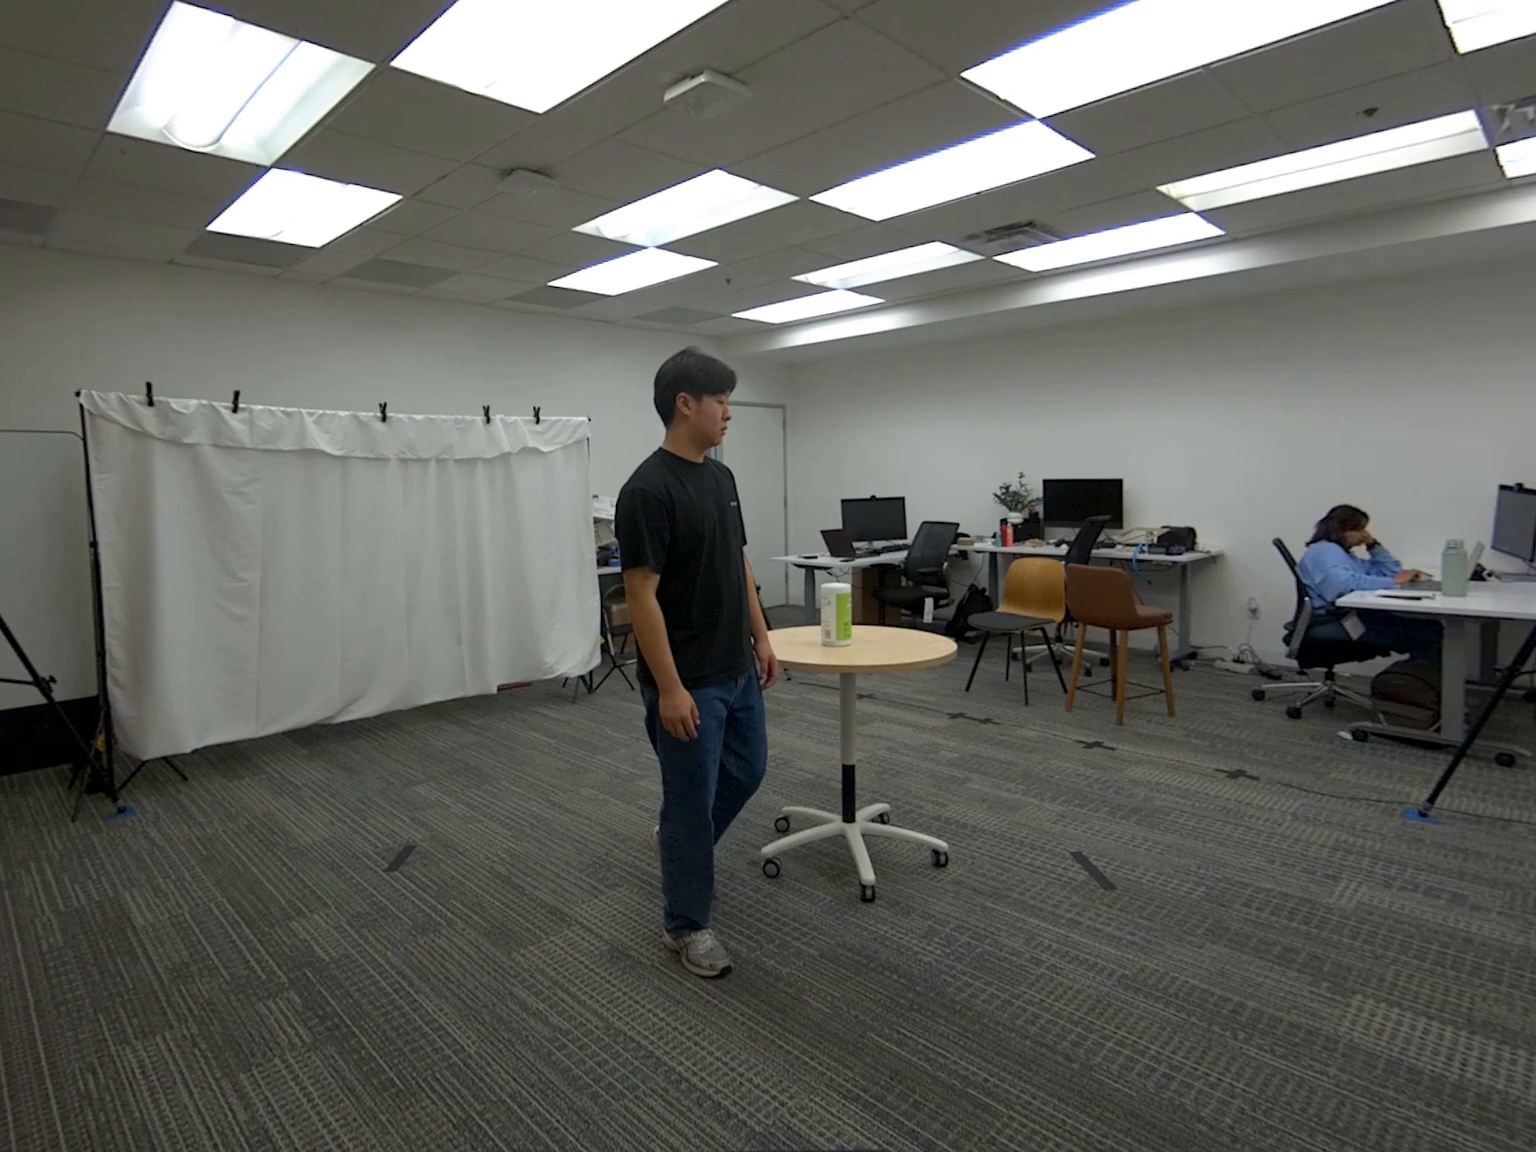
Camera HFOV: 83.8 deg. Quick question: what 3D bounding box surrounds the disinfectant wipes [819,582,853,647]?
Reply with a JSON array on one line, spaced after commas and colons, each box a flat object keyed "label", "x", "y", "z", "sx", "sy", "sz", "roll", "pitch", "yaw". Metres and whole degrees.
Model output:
[{"label": "disinfectant wipes", "x": 0.248, "y": 0.139, "z": 3.061, "sx": 0.118, "sy": 0.217, "sz": 0.118, "roll": 0, "pitch": 4, "yaw": -2}]
